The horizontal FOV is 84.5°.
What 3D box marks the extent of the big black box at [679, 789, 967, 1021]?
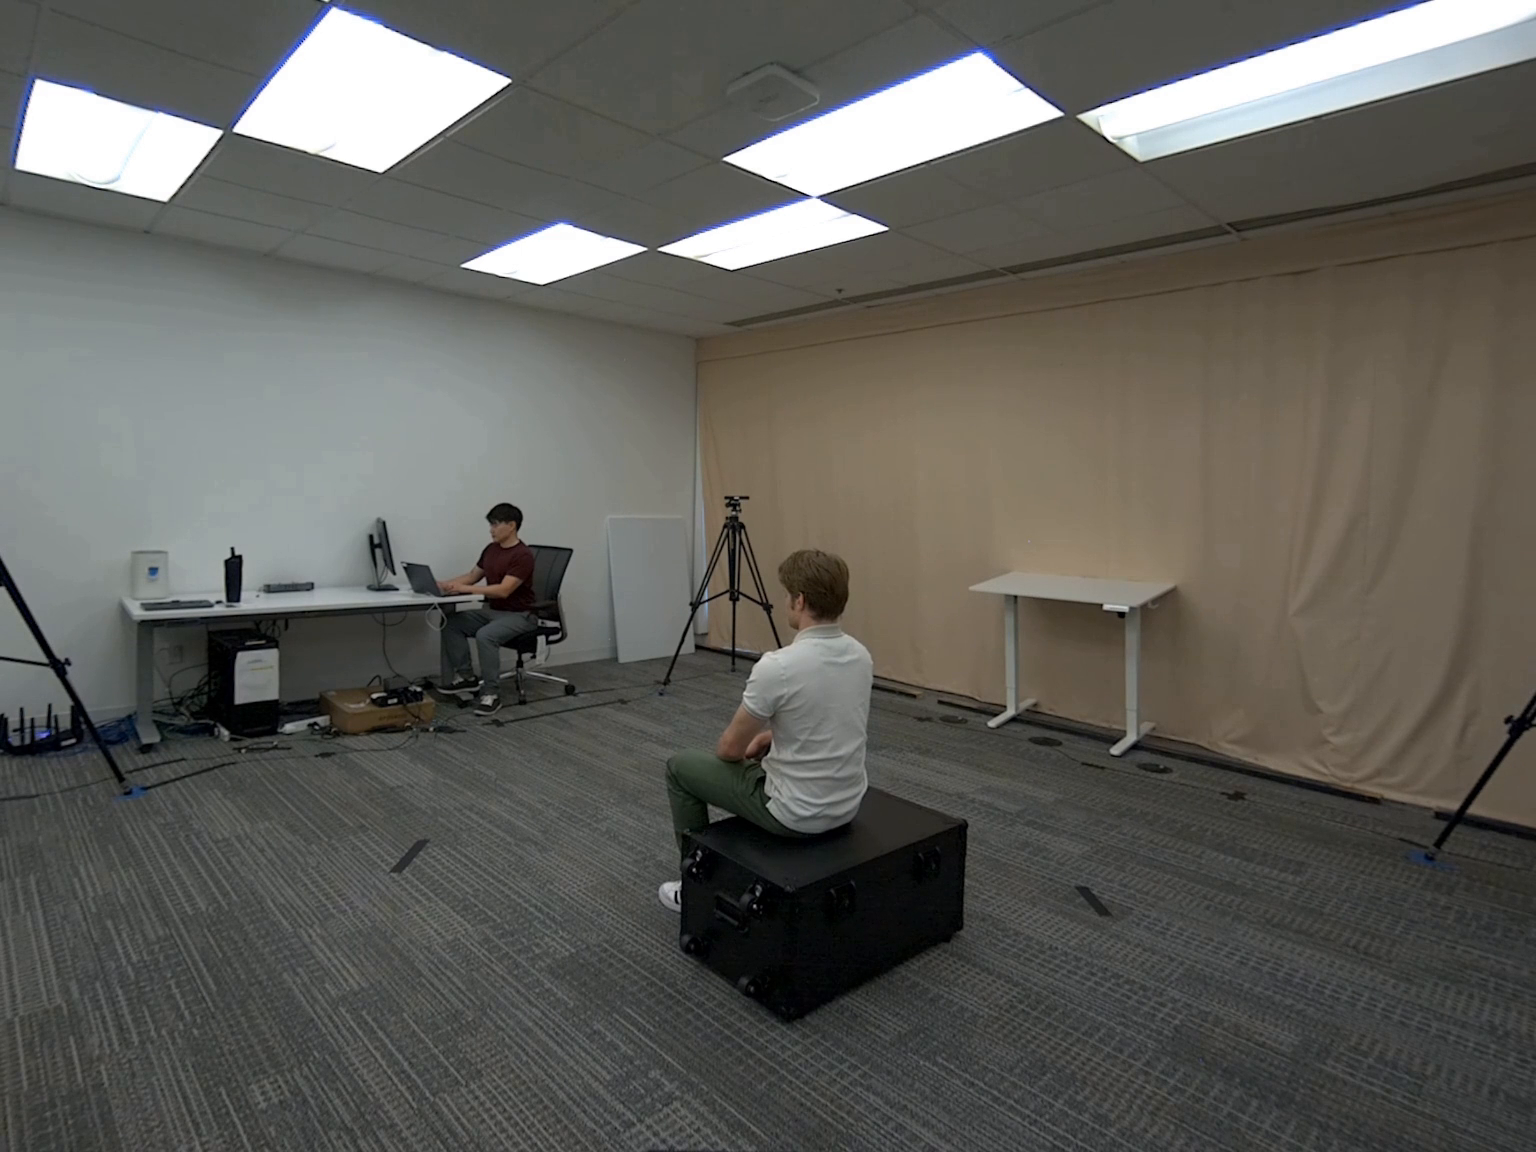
[{"bbox_3d":[0.150,0.966,2.607,0.849,0.384,0.537,-3,7,-41],"label":"big black box"}]
